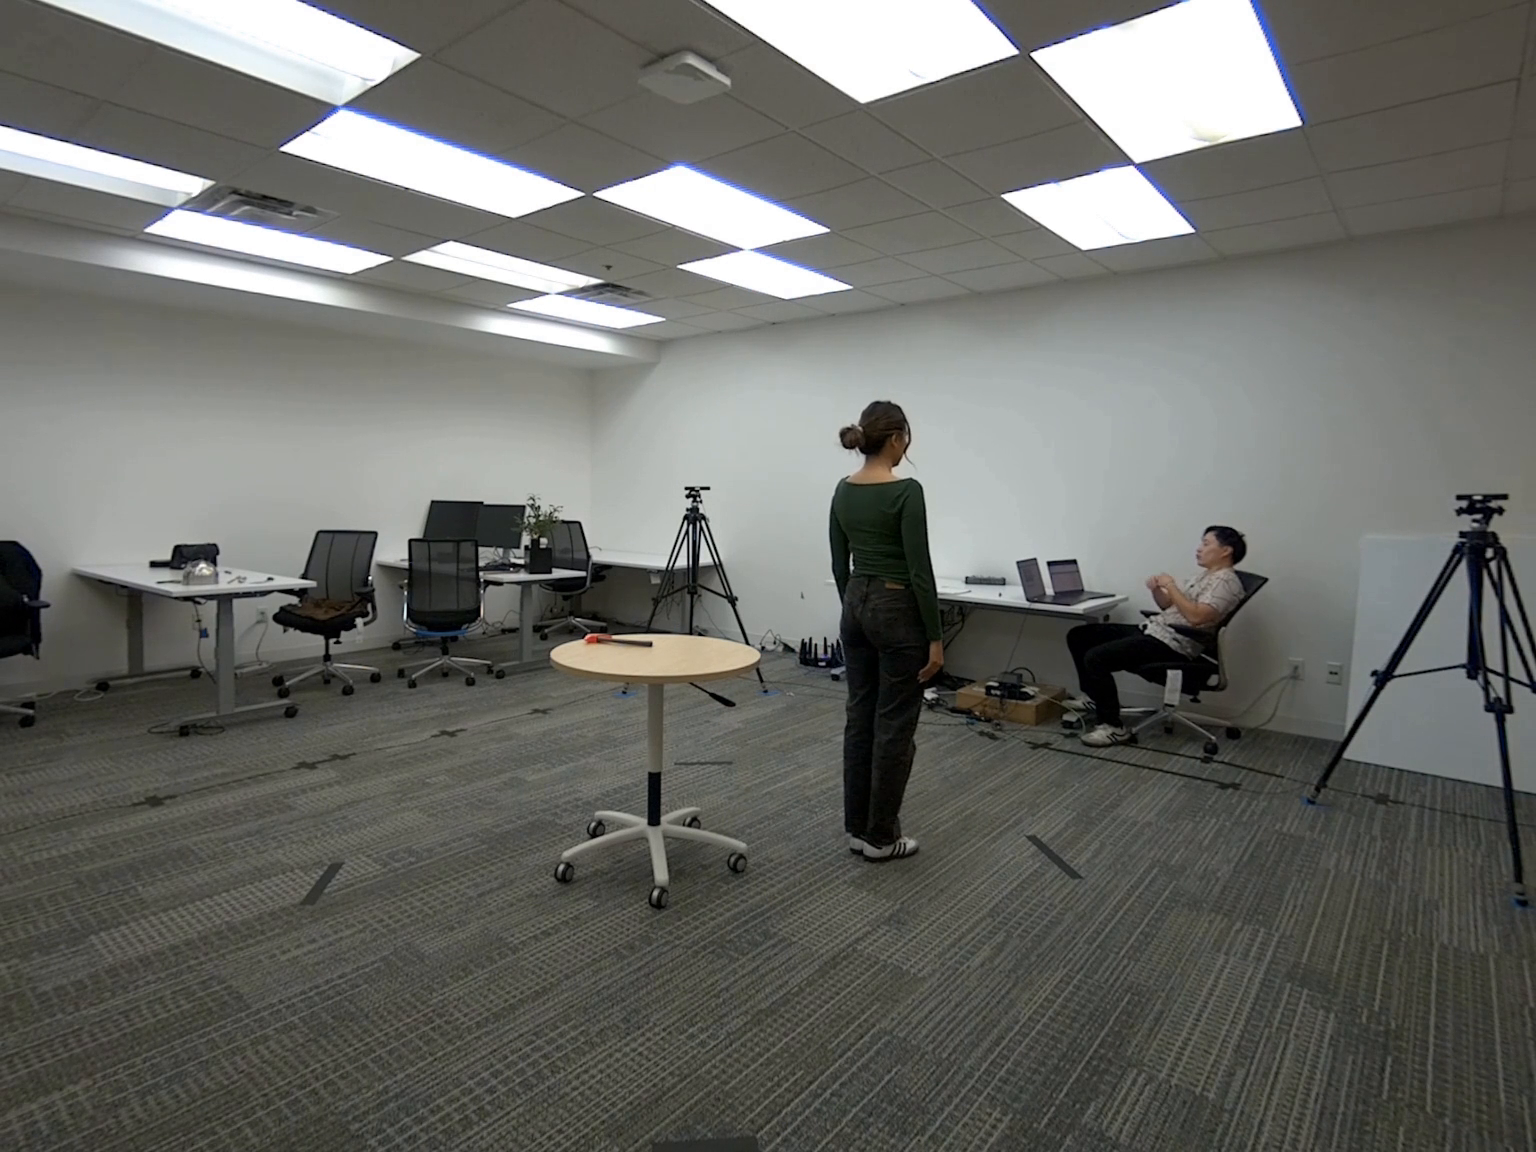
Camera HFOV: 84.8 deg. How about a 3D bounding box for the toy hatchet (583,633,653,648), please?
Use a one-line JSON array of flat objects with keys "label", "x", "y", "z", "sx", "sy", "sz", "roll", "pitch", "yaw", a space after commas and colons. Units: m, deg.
[{"label": "toy hatchet", "x": -0.587, "y": 0.247, "z": 3.304, "sx": 0.270, "sy": 0.029, "sz": 0.131, "roll": 3, "pitch": 4, "yaw": 0}]
